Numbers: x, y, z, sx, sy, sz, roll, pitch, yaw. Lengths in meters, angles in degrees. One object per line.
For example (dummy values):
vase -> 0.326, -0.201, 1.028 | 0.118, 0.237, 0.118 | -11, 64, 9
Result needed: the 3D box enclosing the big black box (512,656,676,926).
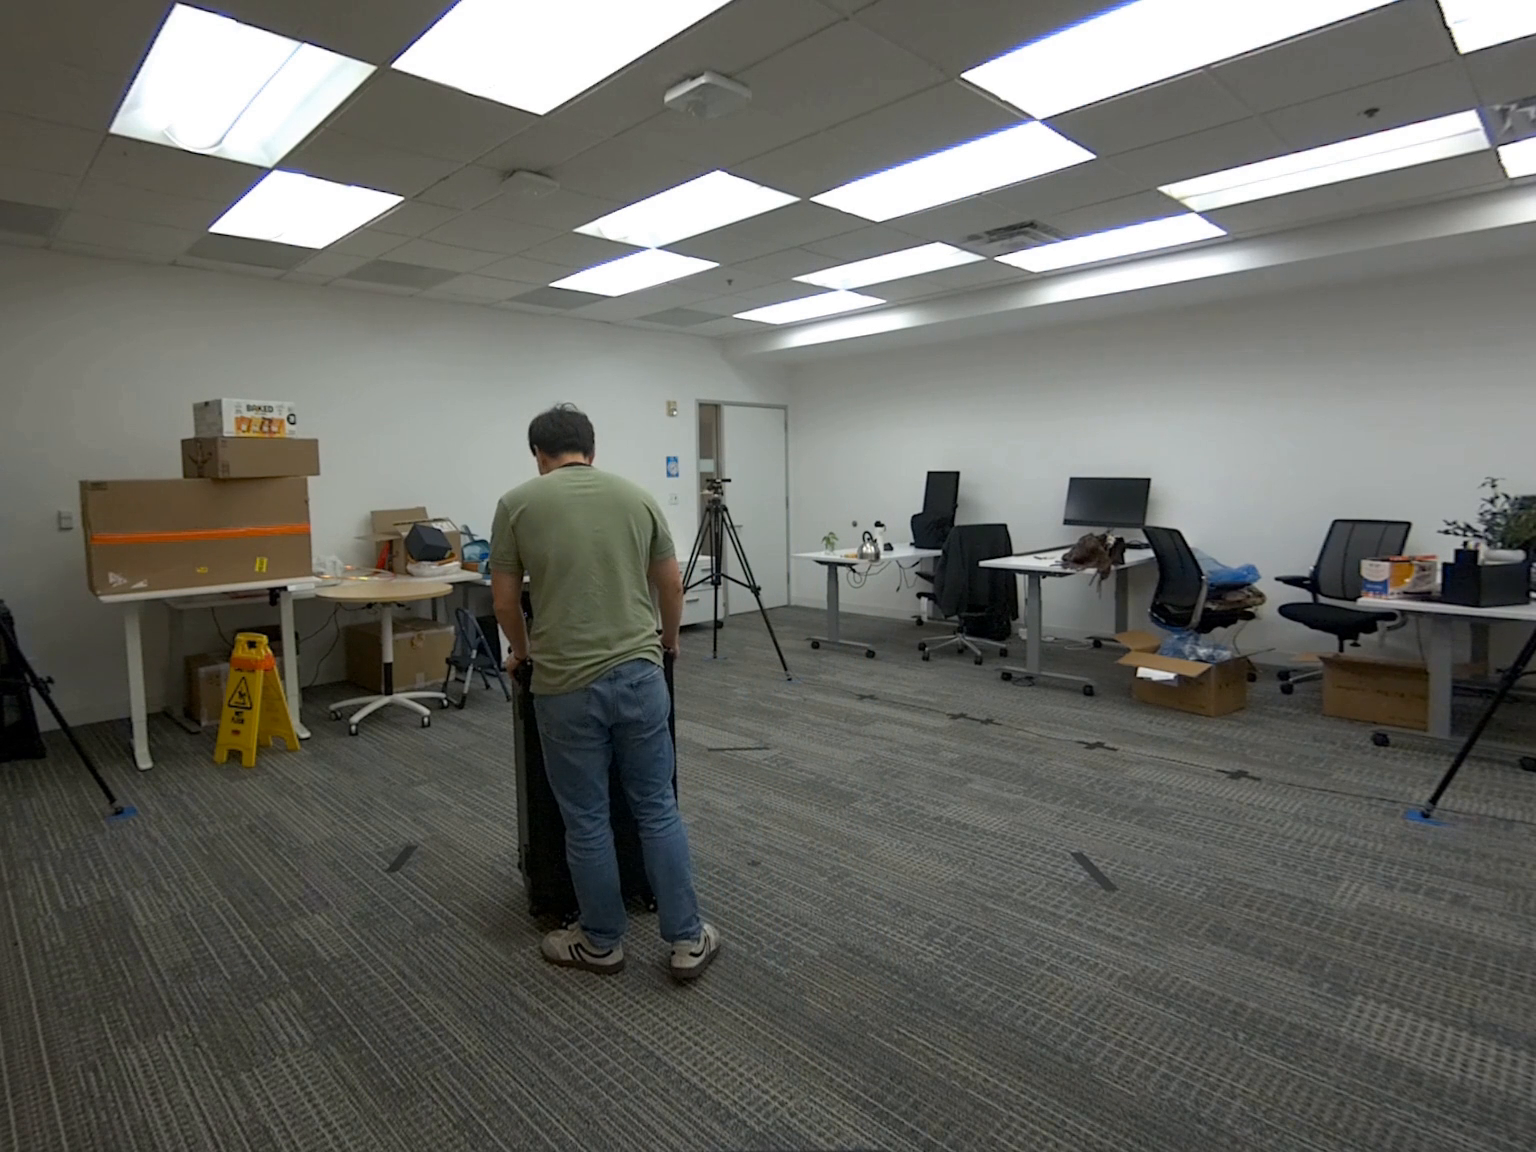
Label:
big black box -> -0.587, 0.658, 2.848 | 0.512, 0.859, 0.405 | -4, 4, -21
